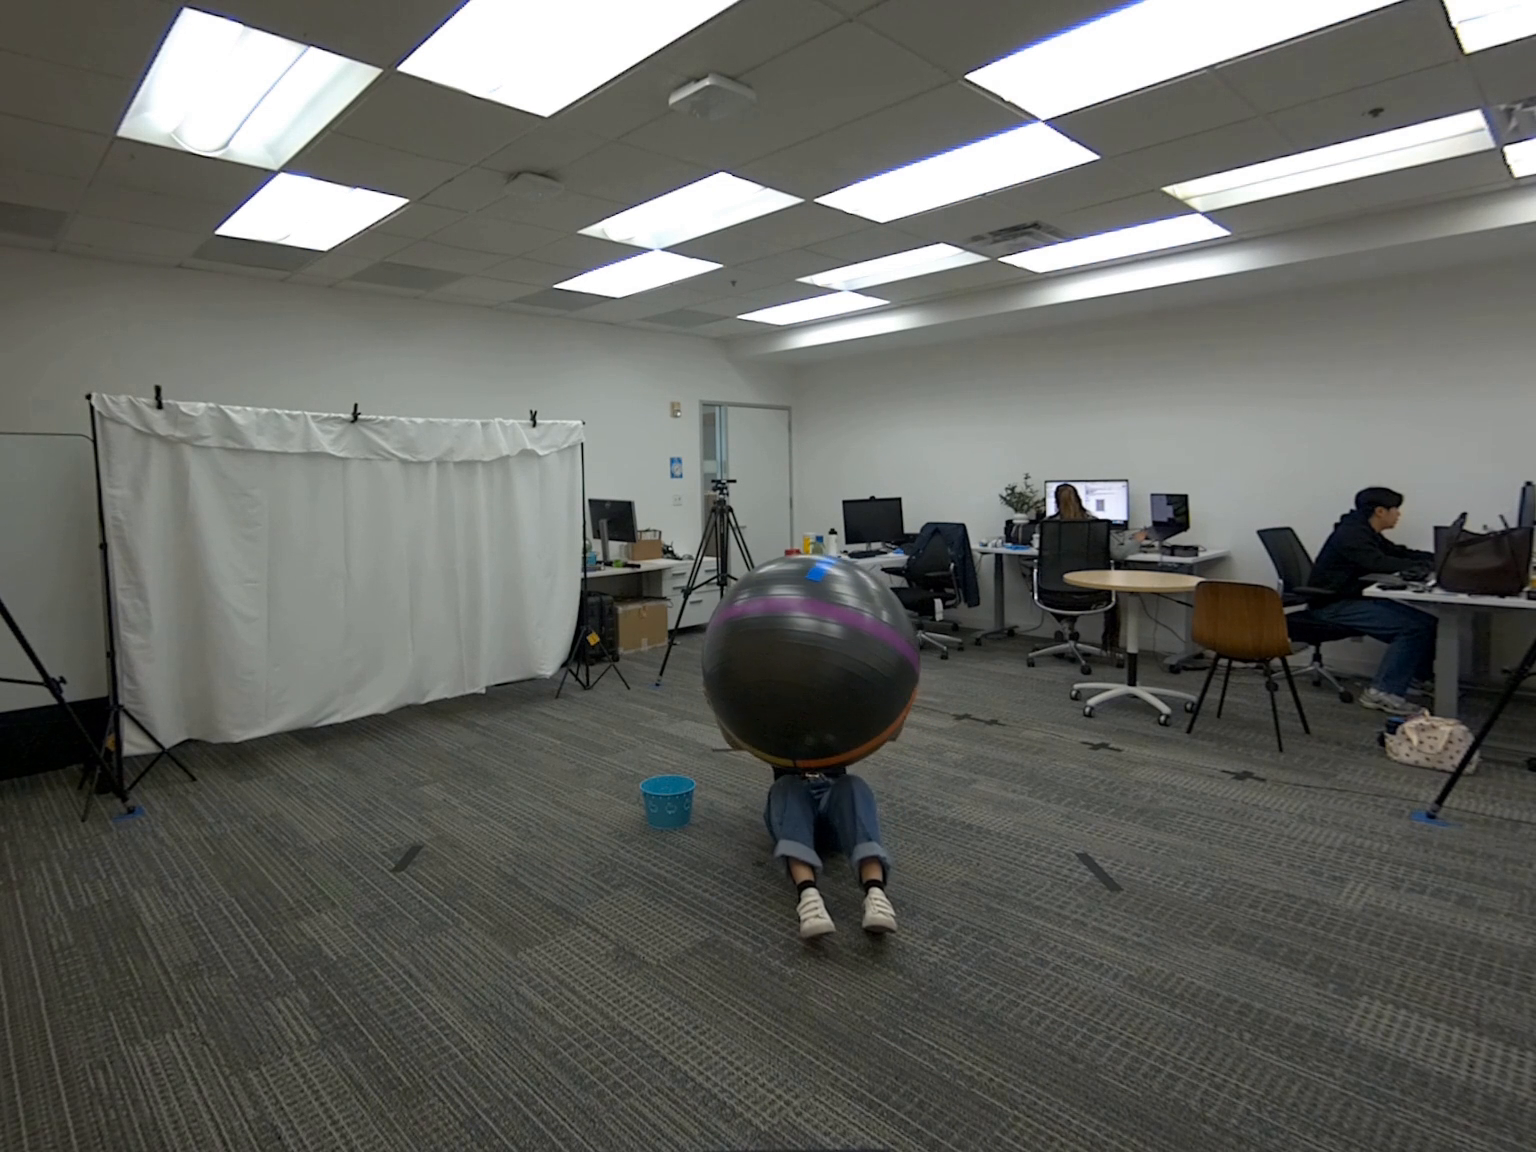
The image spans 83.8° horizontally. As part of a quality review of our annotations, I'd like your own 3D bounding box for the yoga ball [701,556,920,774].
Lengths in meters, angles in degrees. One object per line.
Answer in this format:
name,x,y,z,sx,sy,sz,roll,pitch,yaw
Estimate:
yoga ball,0.154,0.304,3.010,0.757,0.755,0.762,-1,5,-2
